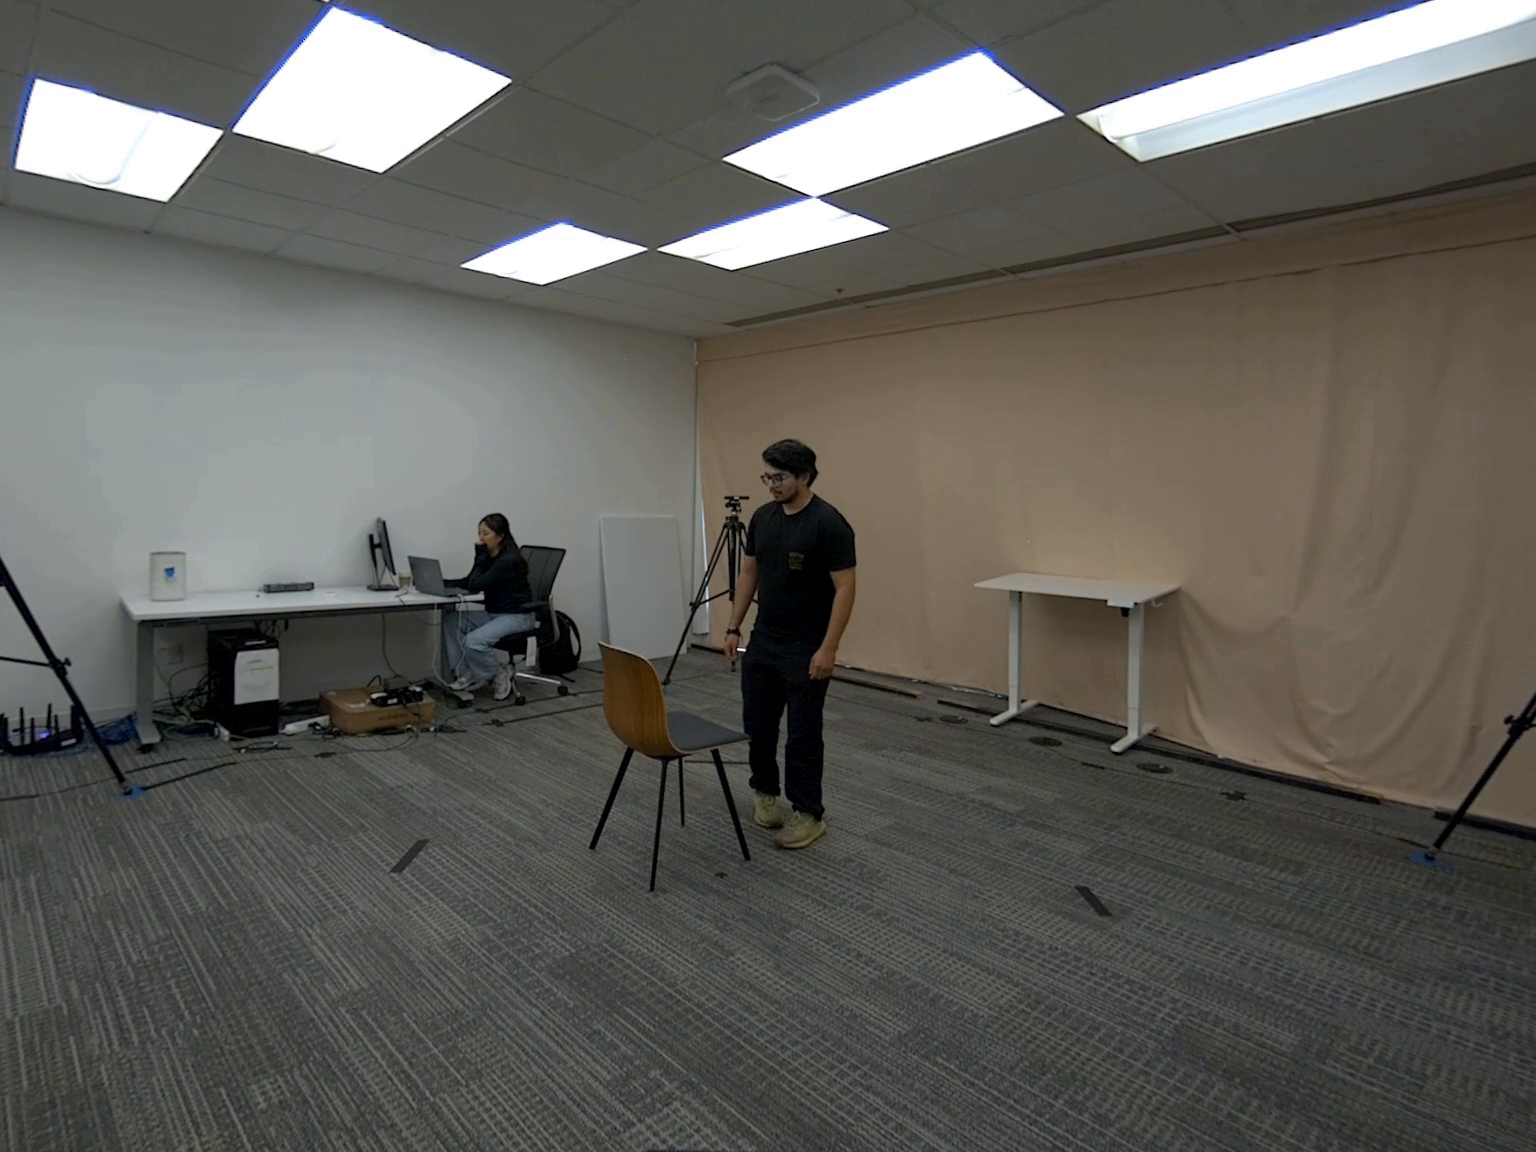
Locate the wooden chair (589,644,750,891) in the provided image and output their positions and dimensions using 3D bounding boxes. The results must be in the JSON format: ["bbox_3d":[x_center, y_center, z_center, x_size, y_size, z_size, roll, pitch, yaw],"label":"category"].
[{"bbox_3d":[-0.375,0.659,3.243,0.512,0.873,0.490,-7,8,-39],"label":"wooden chair"}]
